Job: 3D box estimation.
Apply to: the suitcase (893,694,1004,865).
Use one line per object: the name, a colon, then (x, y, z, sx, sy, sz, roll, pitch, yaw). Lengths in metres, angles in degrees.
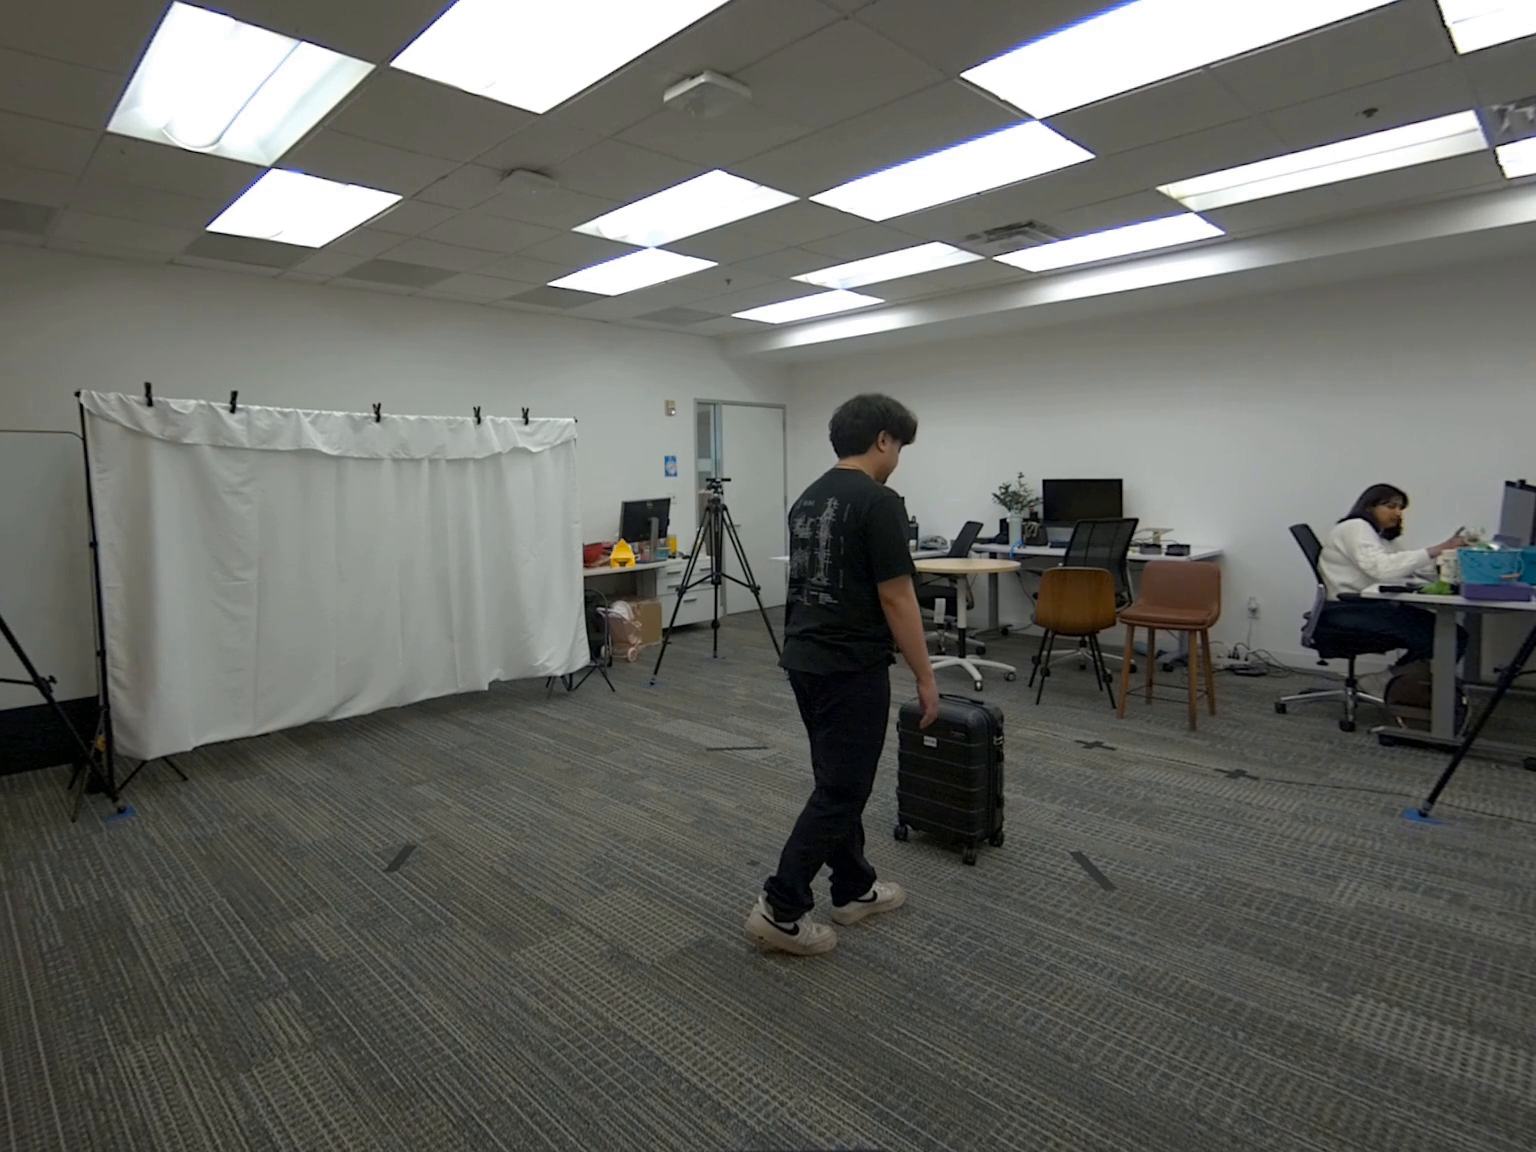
suitcase: (0.701, 0.737, 3.249, 0.387, 0.548, 0.241, 3, 4, 44)
